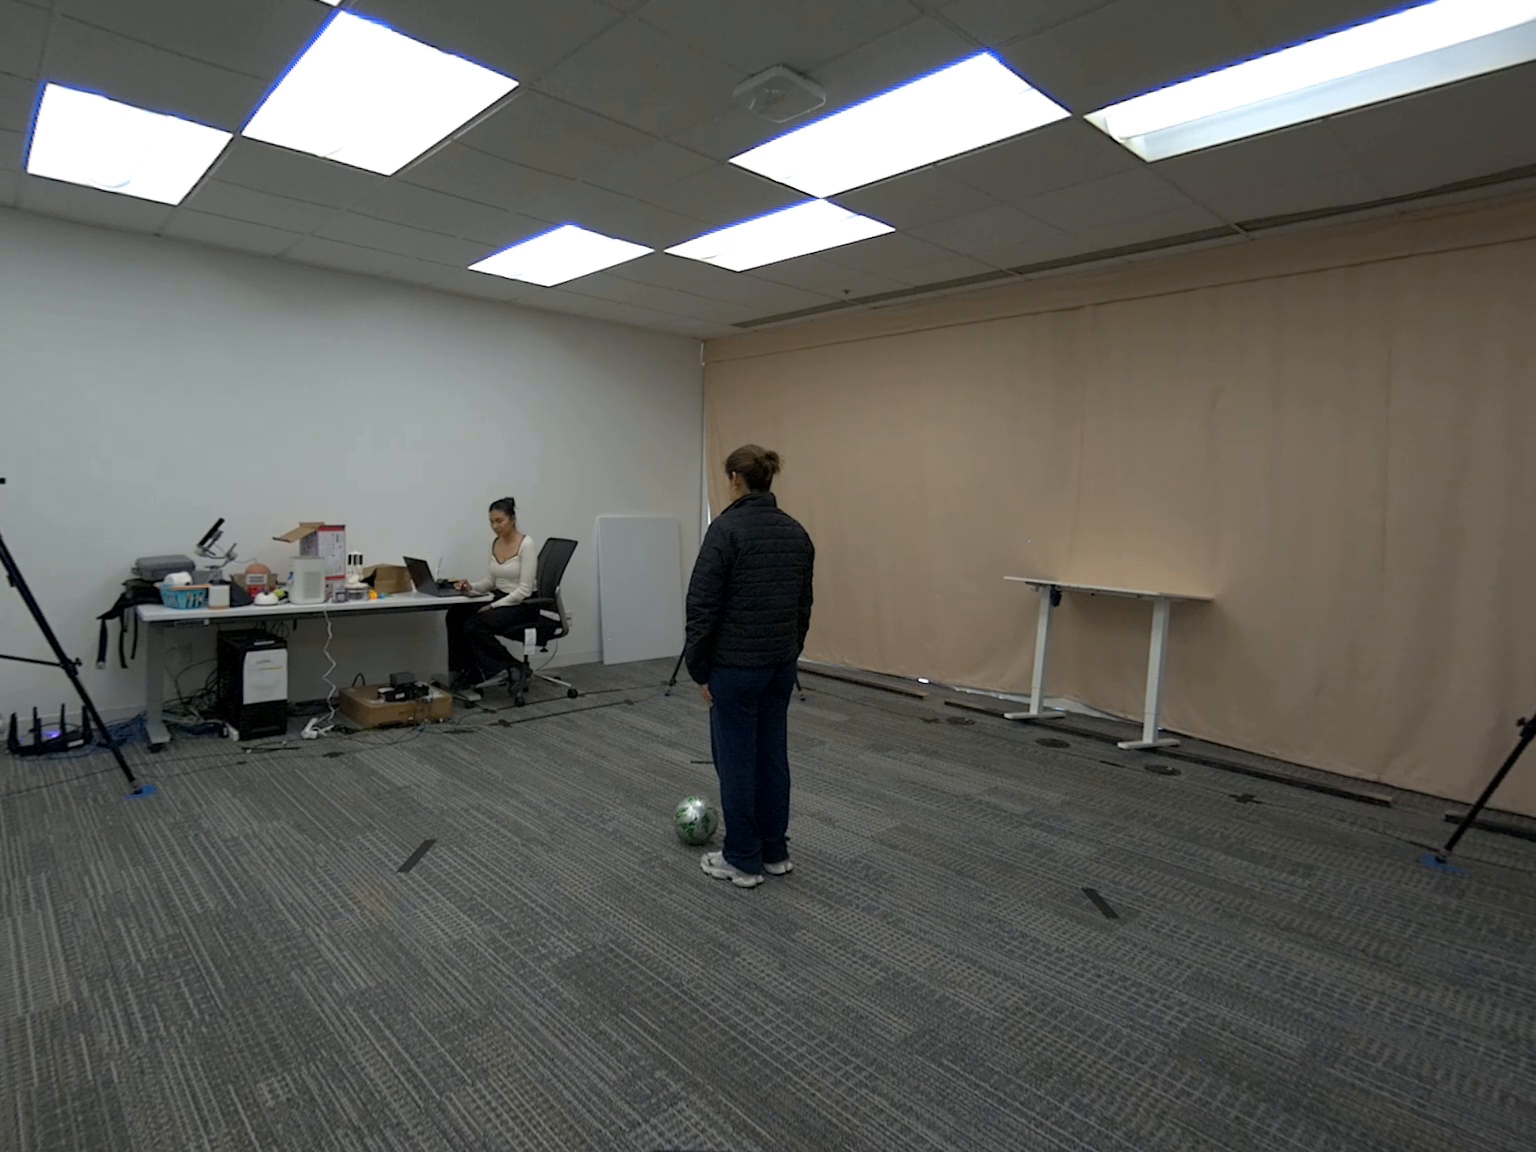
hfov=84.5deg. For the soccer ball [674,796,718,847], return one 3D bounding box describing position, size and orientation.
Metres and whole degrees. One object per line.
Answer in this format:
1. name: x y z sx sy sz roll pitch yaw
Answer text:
1. soccer ball: -0.300 0.981 3.396 0.187 0.187 0.188 1 4 -1
